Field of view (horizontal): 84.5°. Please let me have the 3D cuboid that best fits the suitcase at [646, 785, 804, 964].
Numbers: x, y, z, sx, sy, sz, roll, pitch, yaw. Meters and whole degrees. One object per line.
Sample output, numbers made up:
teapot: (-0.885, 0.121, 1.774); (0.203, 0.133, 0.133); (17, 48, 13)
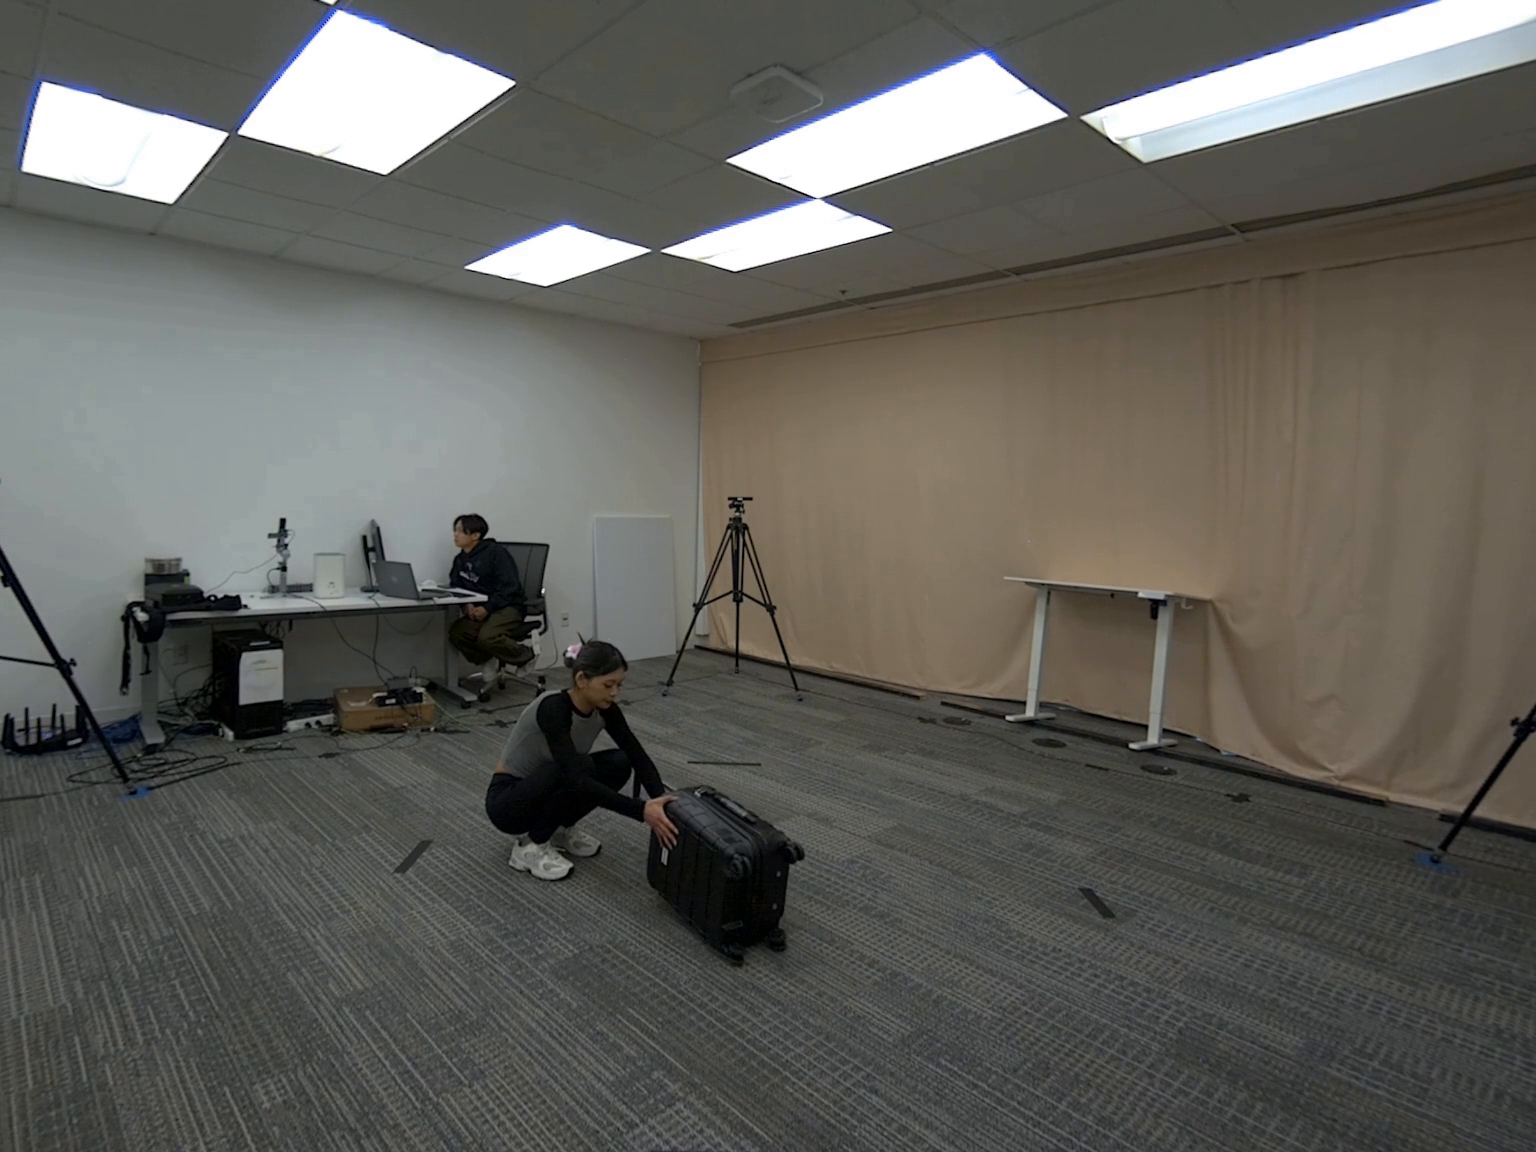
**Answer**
suitcase: (-0.299, 0.906, 2.915); (0.251, 0.382, 1.006); (0, 10, -37)
